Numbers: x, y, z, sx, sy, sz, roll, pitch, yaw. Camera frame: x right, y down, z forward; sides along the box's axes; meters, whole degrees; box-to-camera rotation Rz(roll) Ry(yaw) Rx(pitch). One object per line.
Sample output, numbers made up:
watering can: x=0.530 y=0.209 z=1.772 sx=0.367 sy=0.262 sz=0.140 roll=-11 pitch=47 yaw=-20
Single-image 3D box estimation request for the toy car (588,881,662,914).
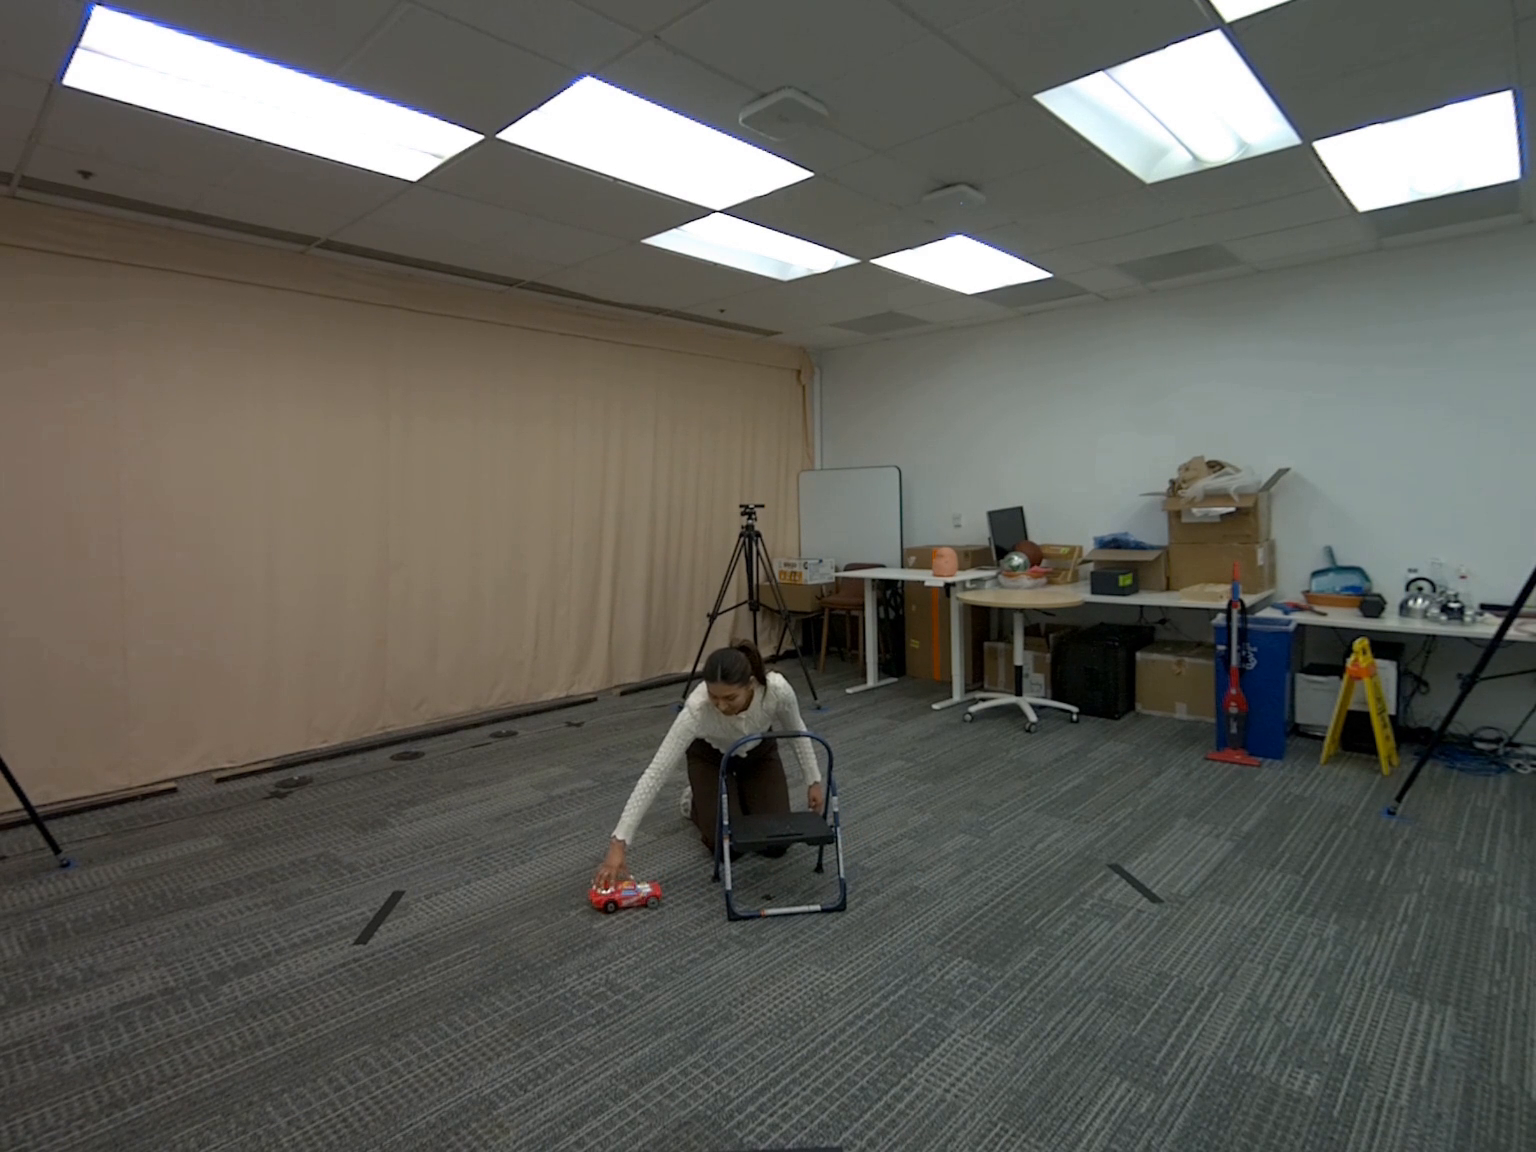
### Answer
toy car: x=-0.498 y=1.127 z=2.948 sx=0.251 sy=0.083 sz=0.132 roll=10 pitch=0 yaw=-12
